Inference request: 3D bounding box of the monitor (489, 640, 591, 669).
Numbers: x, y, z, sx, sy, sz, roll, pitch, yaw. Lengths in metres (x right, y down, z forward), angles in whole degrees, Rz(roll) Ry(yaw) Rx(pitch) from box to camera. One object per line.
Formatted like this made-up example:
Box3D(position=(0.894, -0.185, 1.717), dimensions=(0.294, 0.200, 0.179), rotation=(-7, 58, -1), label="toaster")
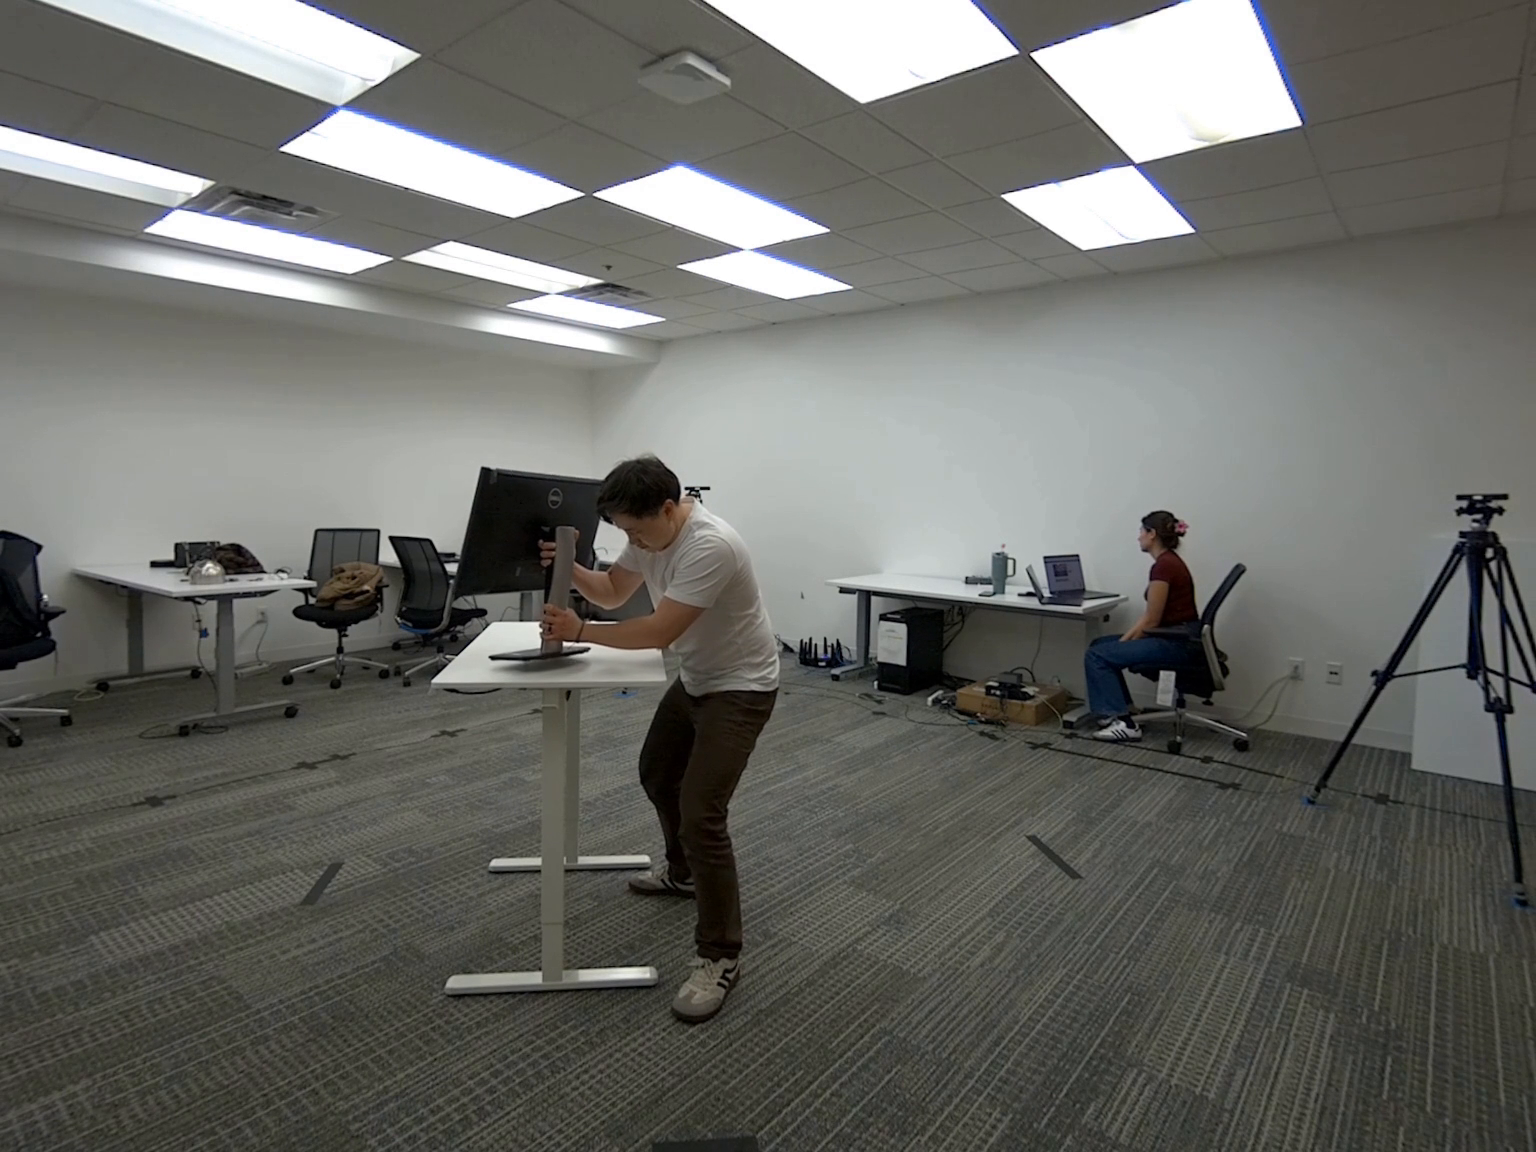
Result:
Box3D(position=(-0.641, -0.029, 2.415), dimensions=(0.192, 0.522, 0.526), rotation=(3, 1, 23), label="monitor")
